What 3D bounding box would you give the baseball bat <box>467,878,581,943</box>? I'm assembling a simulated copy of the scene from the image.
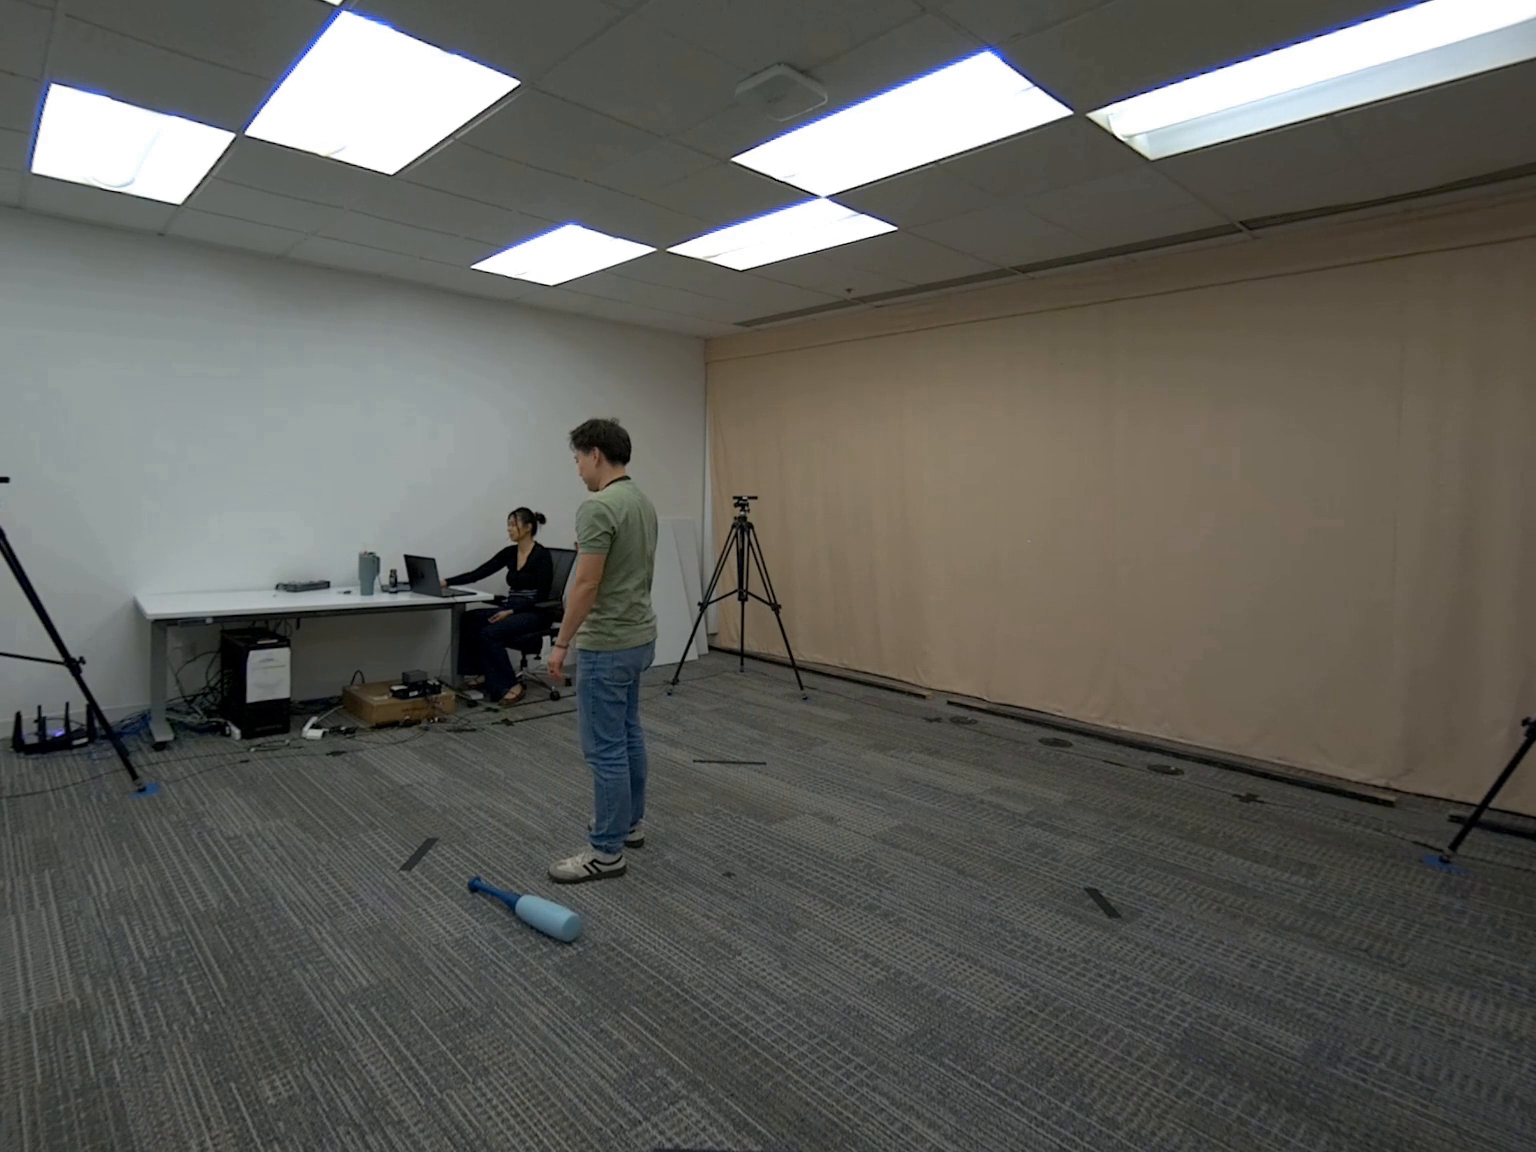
[{"bbox_3d":[-0.824,1.085,2.763,0.556,0.089,0.087,1,3,39],"label":"baseball bat"}]
